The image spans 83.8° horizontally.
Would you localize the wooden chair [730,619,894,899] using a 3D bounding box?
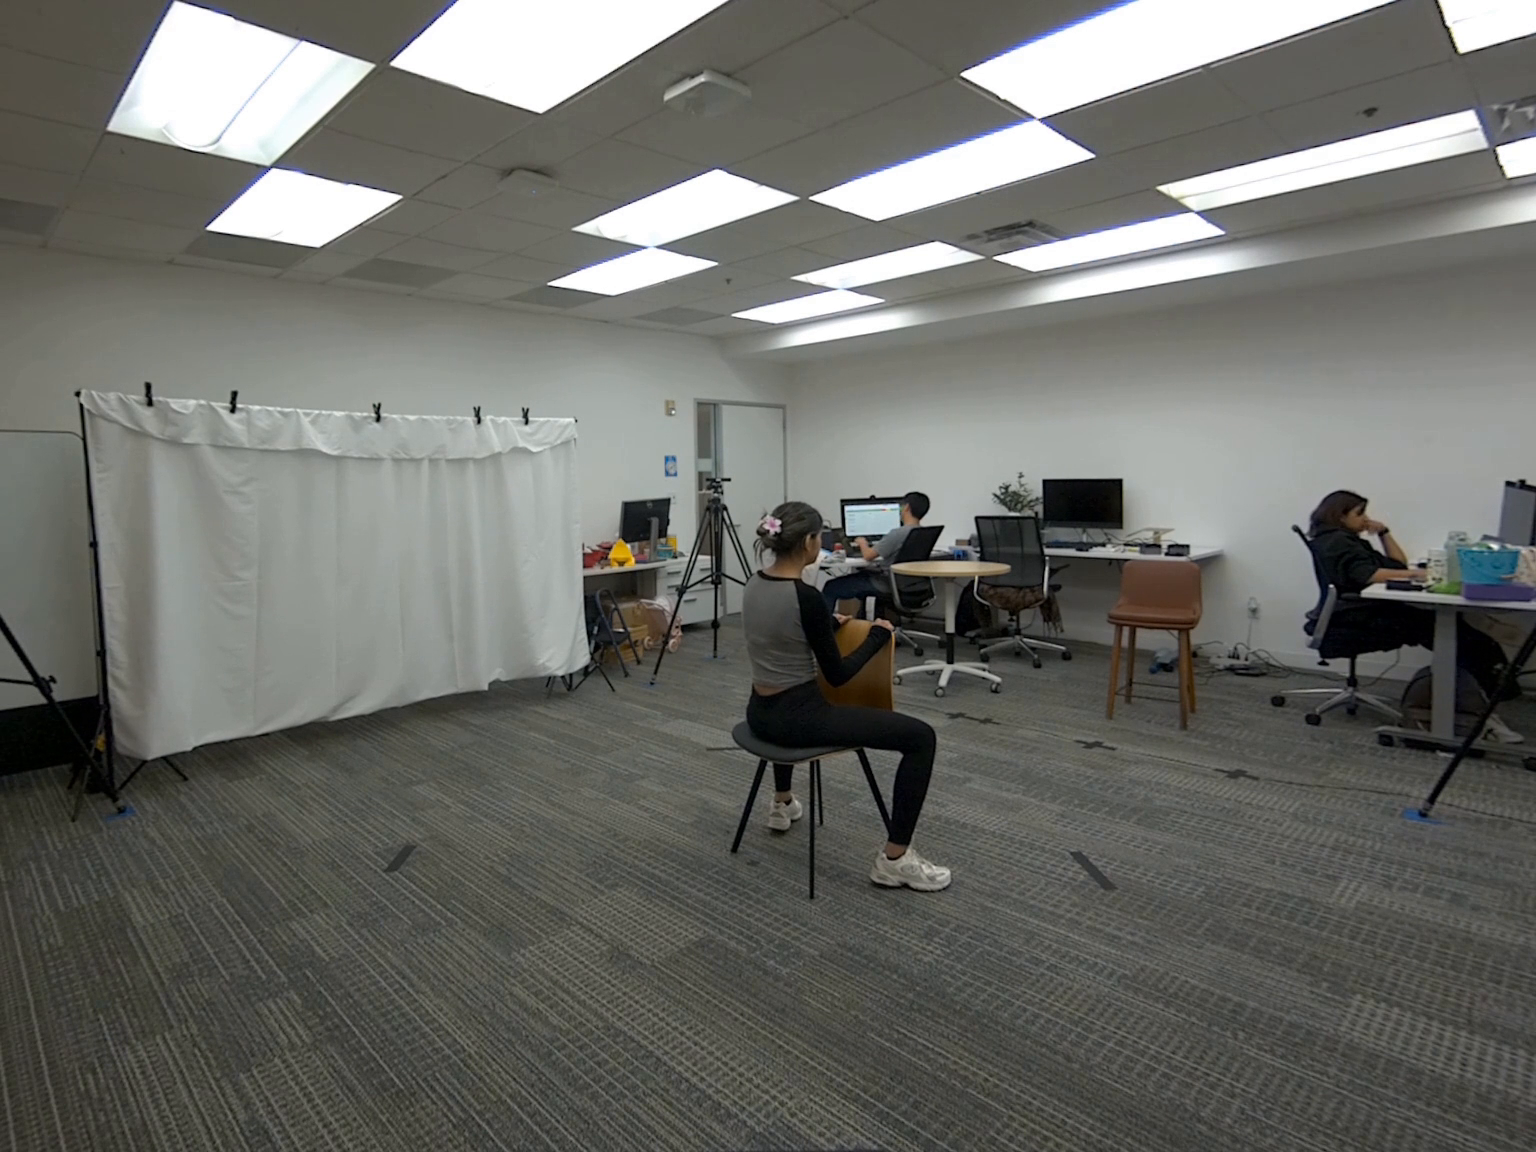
[{"bbox_3d":[0.167,0.613,3.101,0.508,0.877,0.492,3,1,-37],"label":"wooden chair"}]
